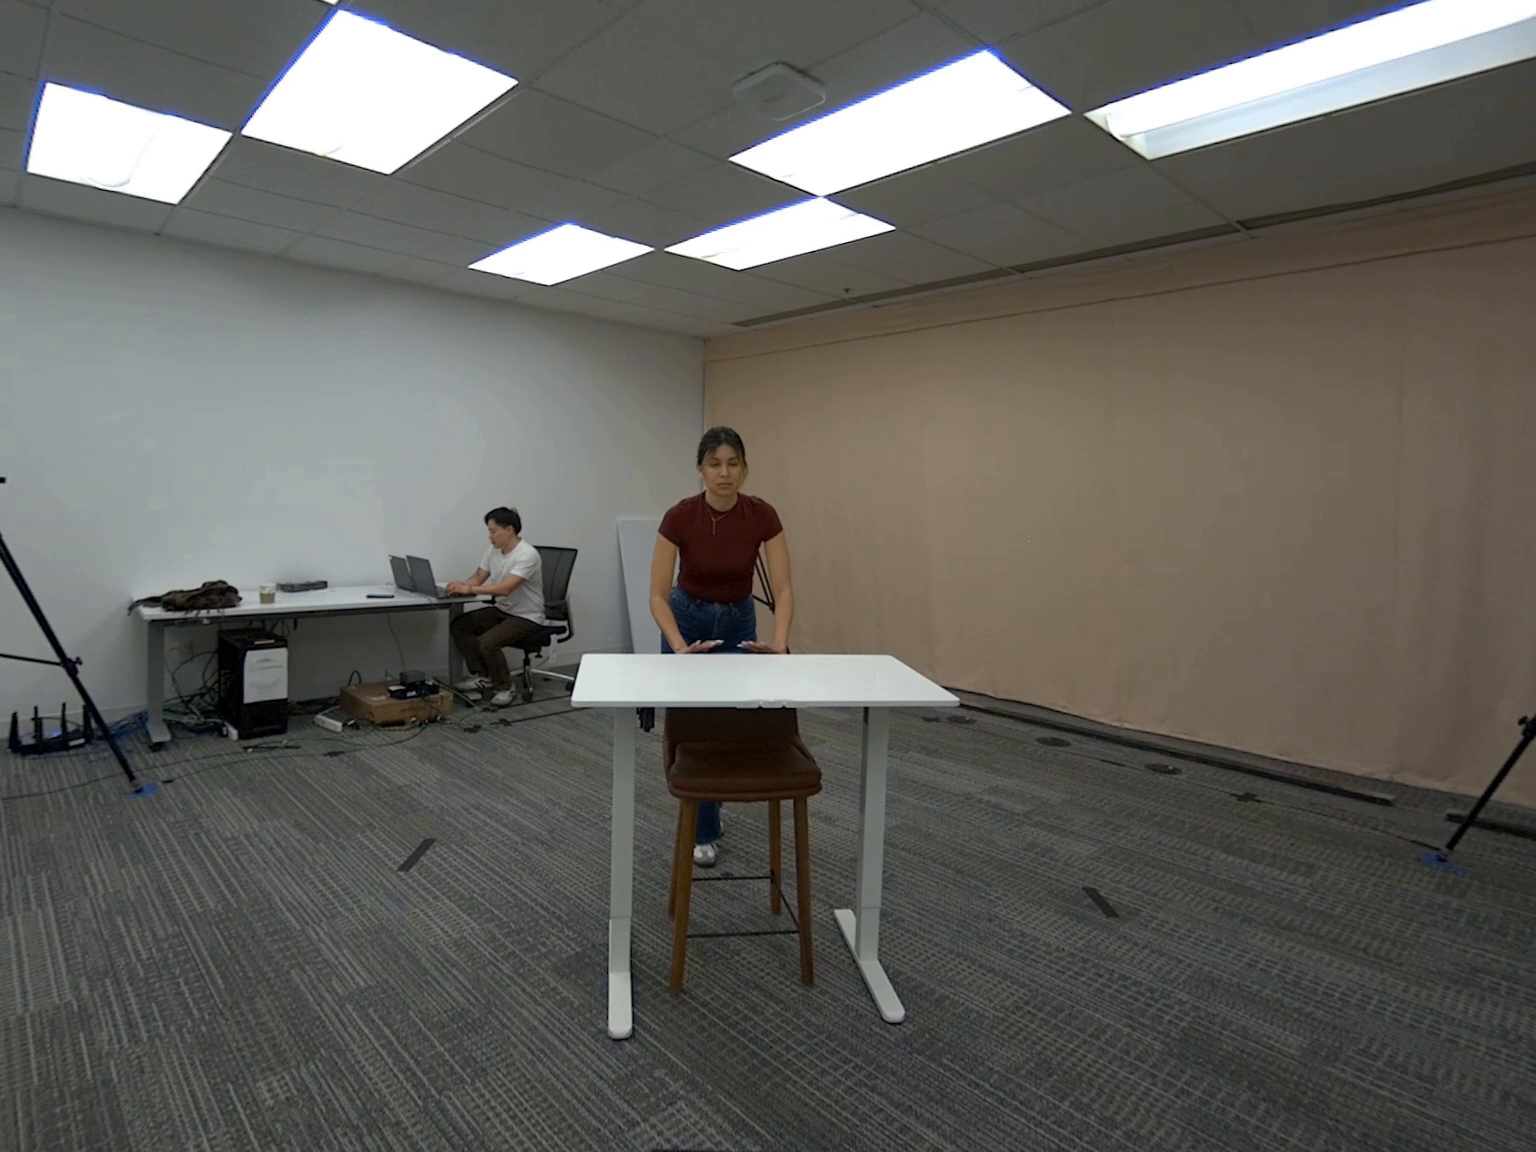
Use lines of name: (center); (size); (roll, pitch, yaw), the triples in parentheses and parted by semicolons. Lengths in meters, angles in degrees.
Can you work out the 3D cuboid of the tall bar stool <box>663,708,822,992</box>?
tall bar stool: (-0.108, 0.722, 2.579); (0.454, 0.888, 0.471); (0, 2, -7)
